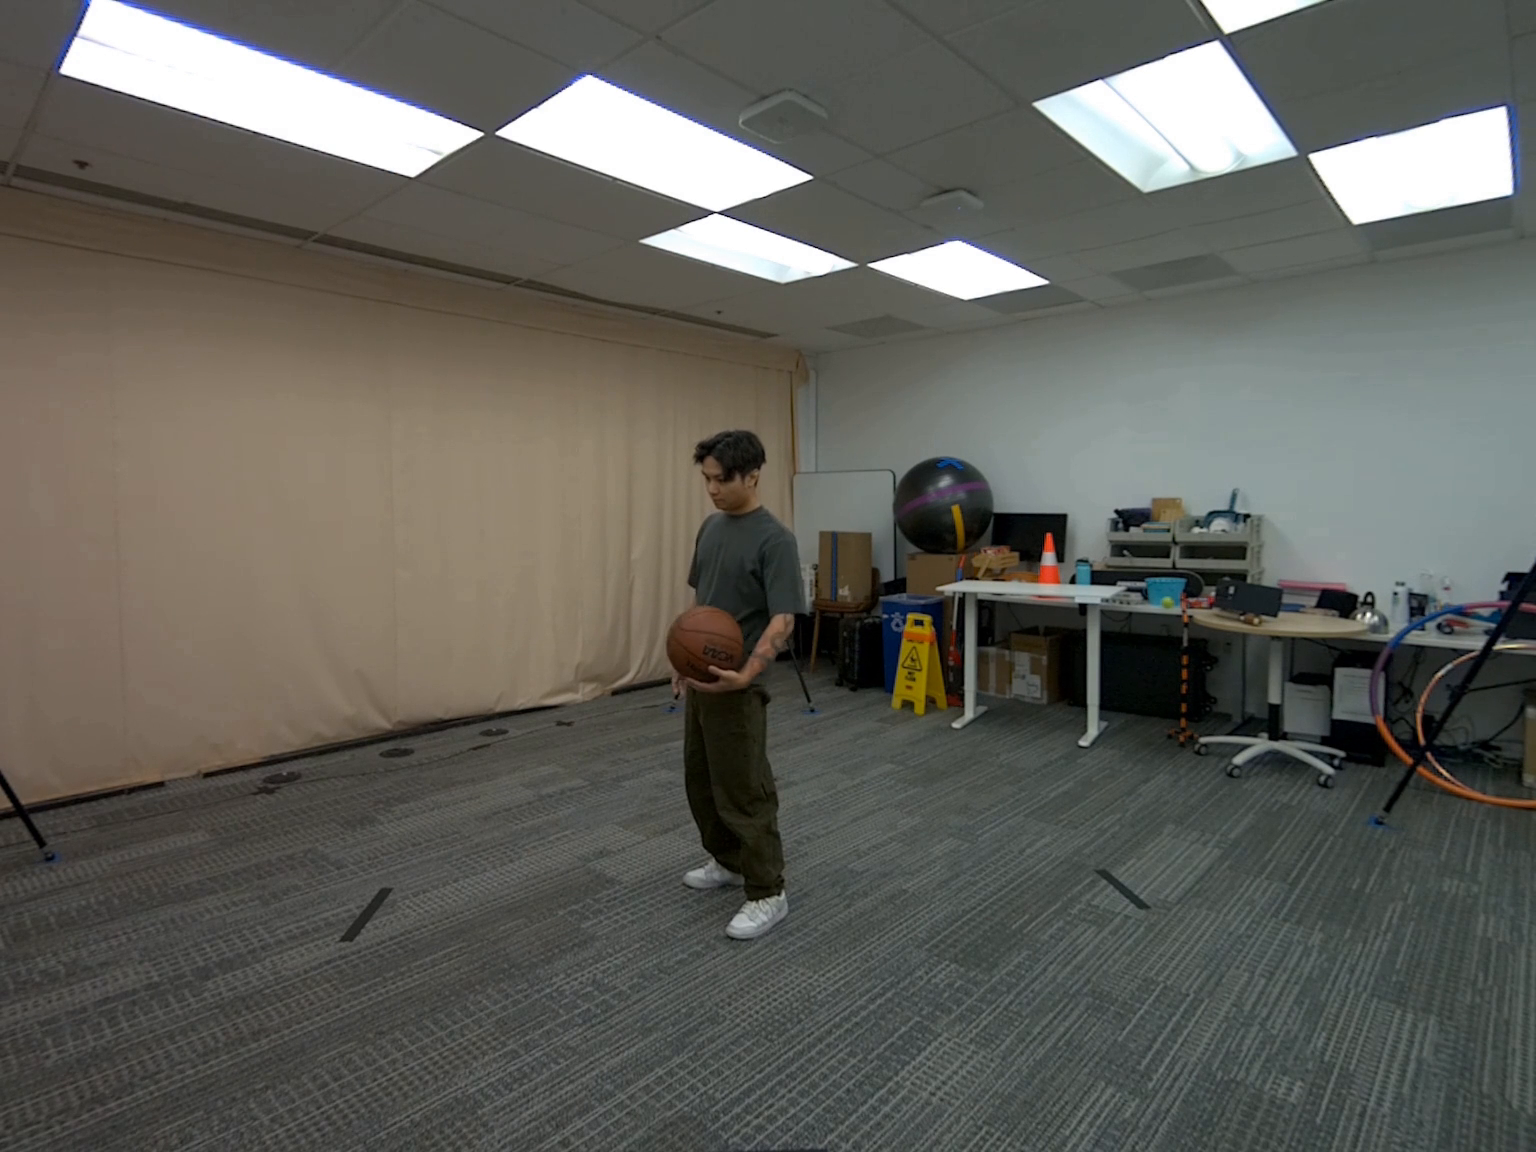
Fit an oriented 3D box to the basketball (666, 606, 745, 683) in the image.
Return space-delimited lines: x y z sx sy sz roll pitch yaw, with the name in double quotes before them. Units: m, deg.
"basketball" -0.187 0.208 2.617 0.236 0.235 0.237 0 4 -2
